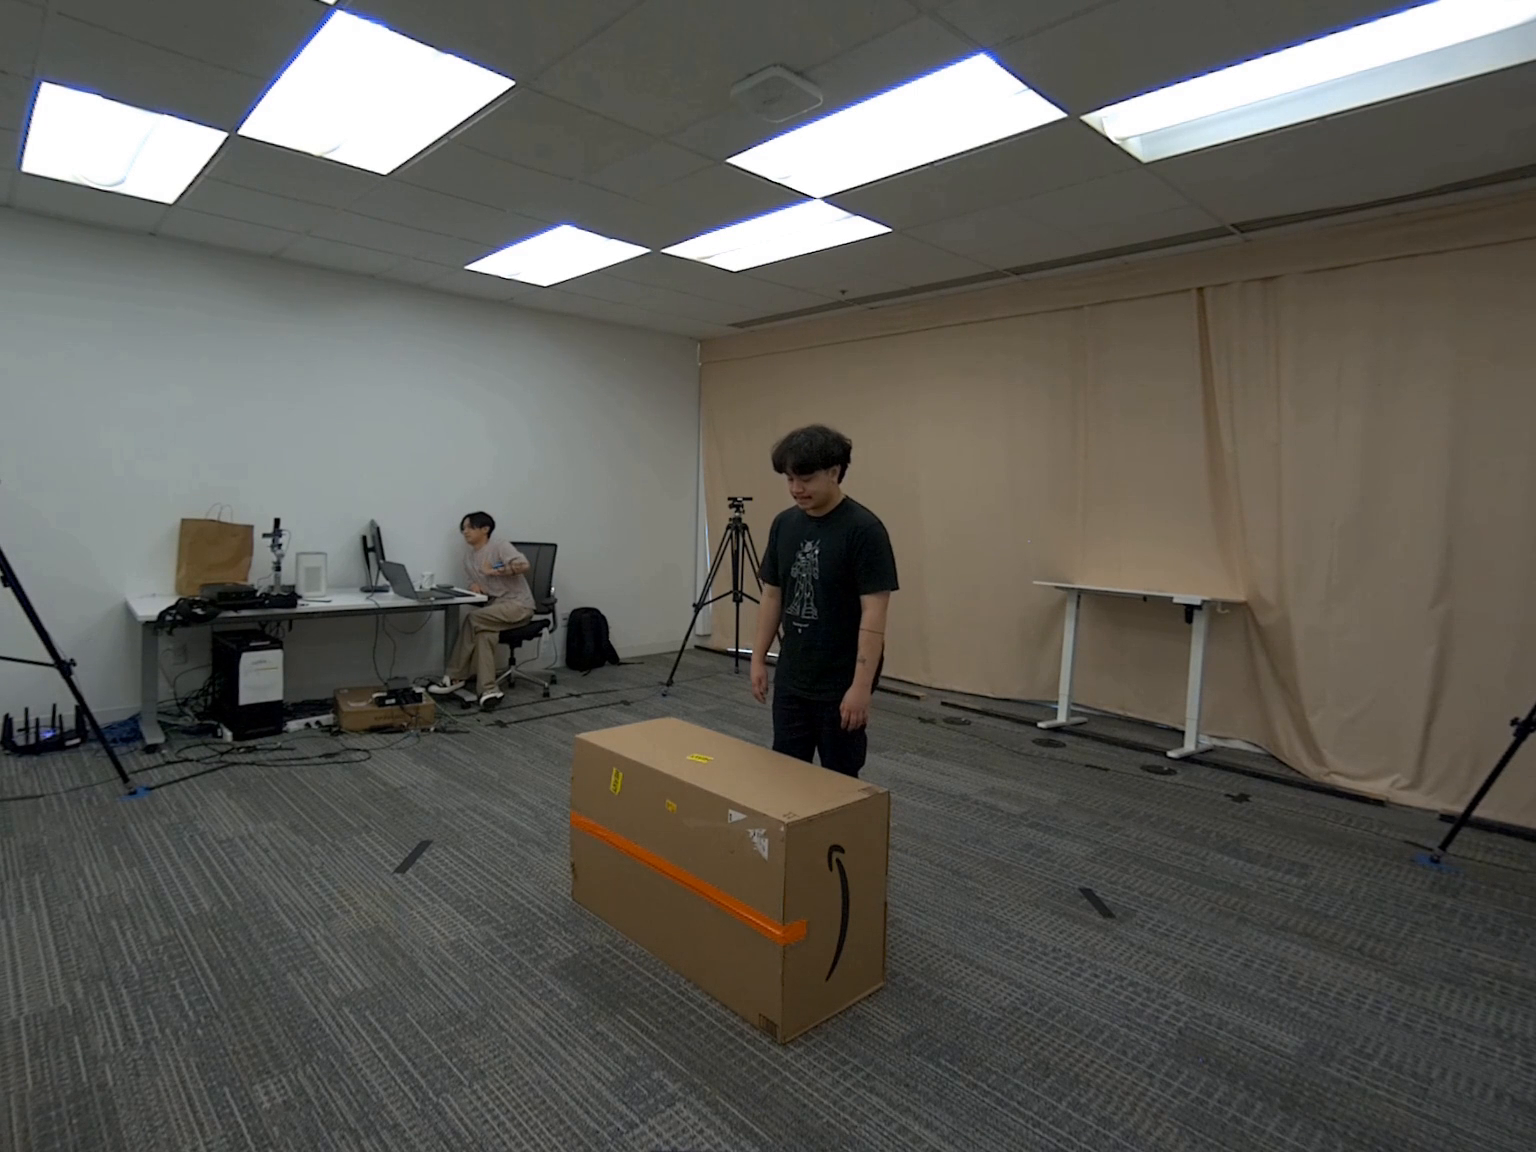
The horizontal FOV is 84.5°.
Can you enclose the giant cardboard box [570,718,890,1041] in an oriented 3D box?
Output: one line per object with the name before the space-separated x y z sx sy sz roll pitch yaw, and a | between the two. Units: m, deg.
giant cardboard box | -0.173 0.864 2.641 0.437 0.582 1.053 -3 6 -43
